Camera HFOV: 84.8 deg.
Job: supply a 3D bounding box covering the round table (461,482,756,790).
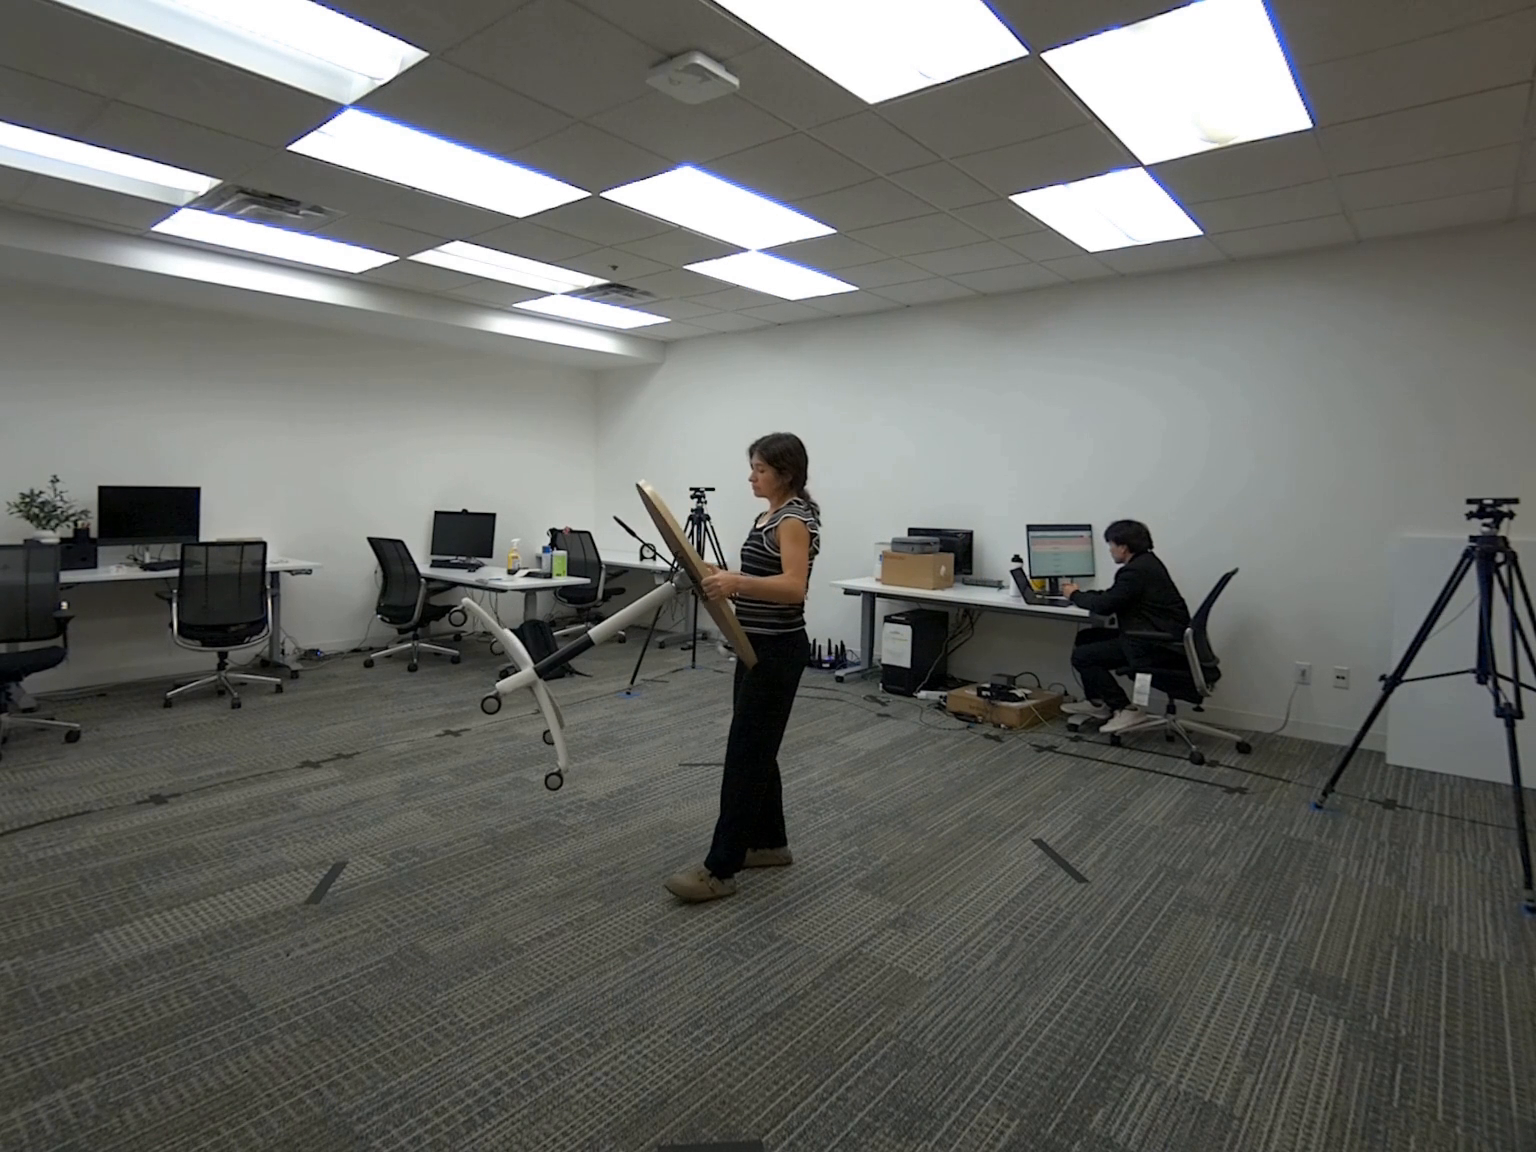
[{"bbox_3d":[-0.593,0.201,2.954,0.791,0.755,0.775,-32,9,-7],"label":"round table"}]
